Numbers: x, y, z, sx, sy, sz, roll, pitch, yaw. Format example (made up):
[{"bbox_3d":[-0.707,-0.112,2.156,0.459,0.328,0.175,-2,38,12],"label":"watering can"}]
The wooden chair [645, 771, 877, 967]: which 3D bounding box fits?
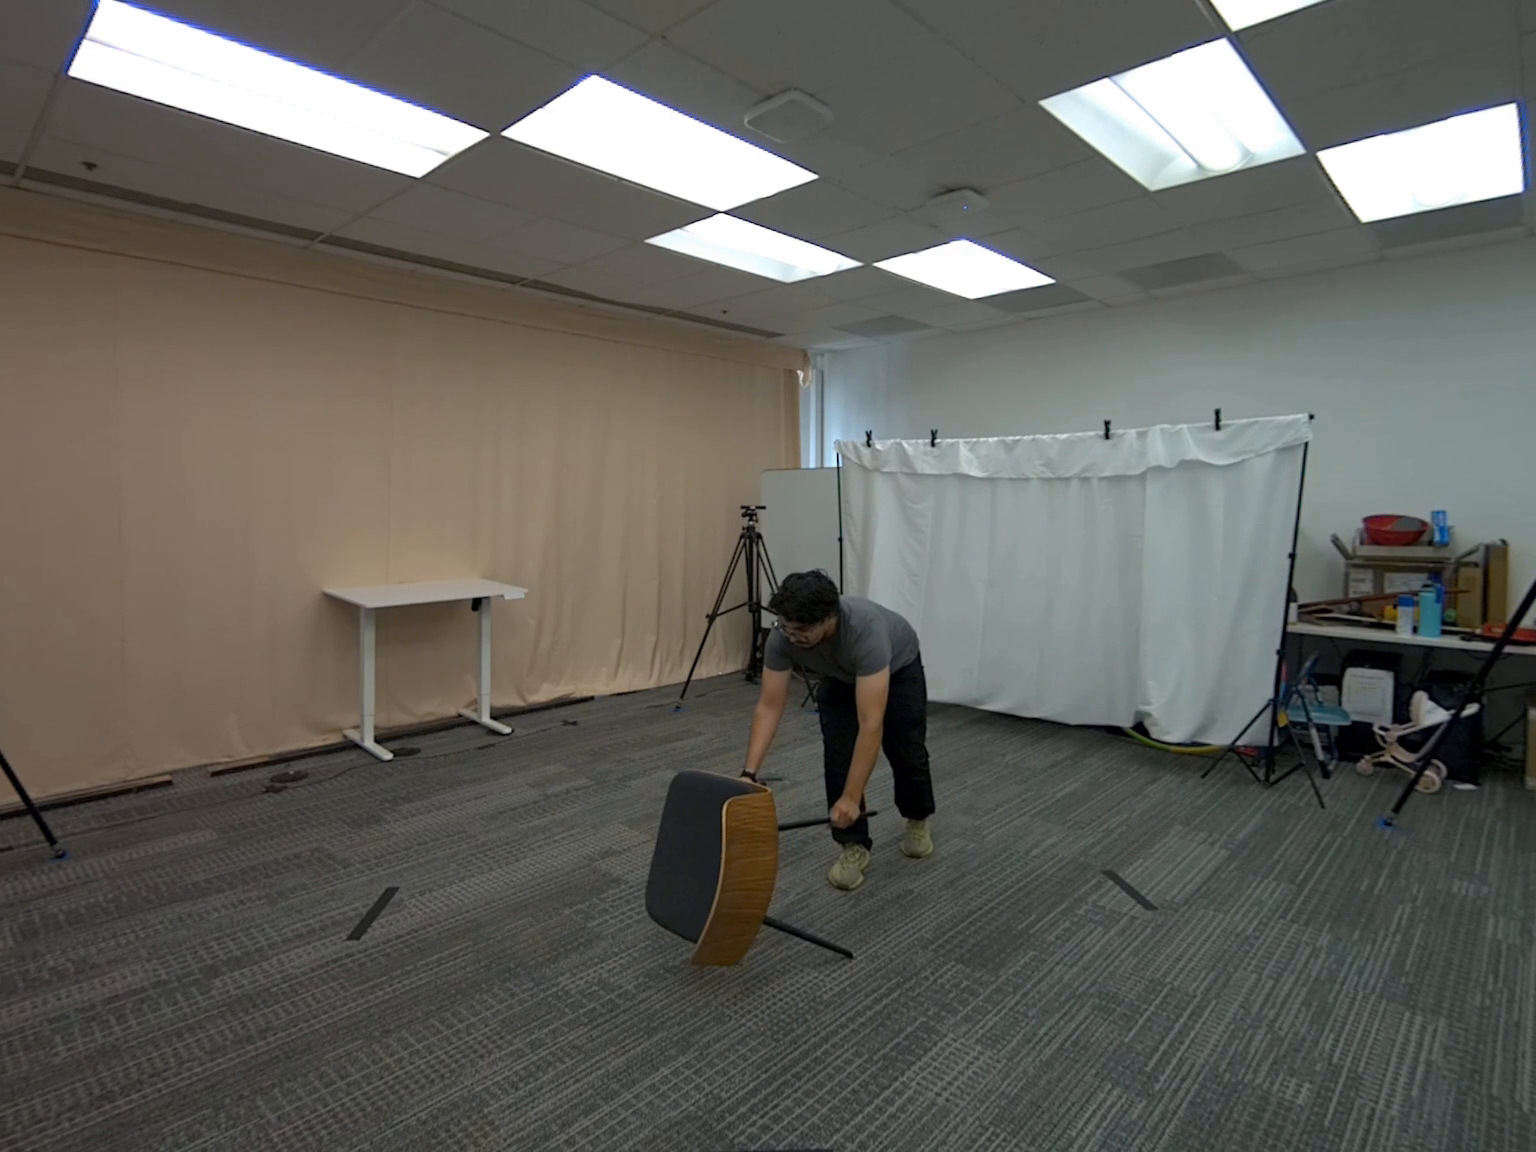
[{"bbox_3d":[-0.119,0.842,2.467,0.539,0.480,0.847,5,-13,33],"label":"wooden chair"}]
